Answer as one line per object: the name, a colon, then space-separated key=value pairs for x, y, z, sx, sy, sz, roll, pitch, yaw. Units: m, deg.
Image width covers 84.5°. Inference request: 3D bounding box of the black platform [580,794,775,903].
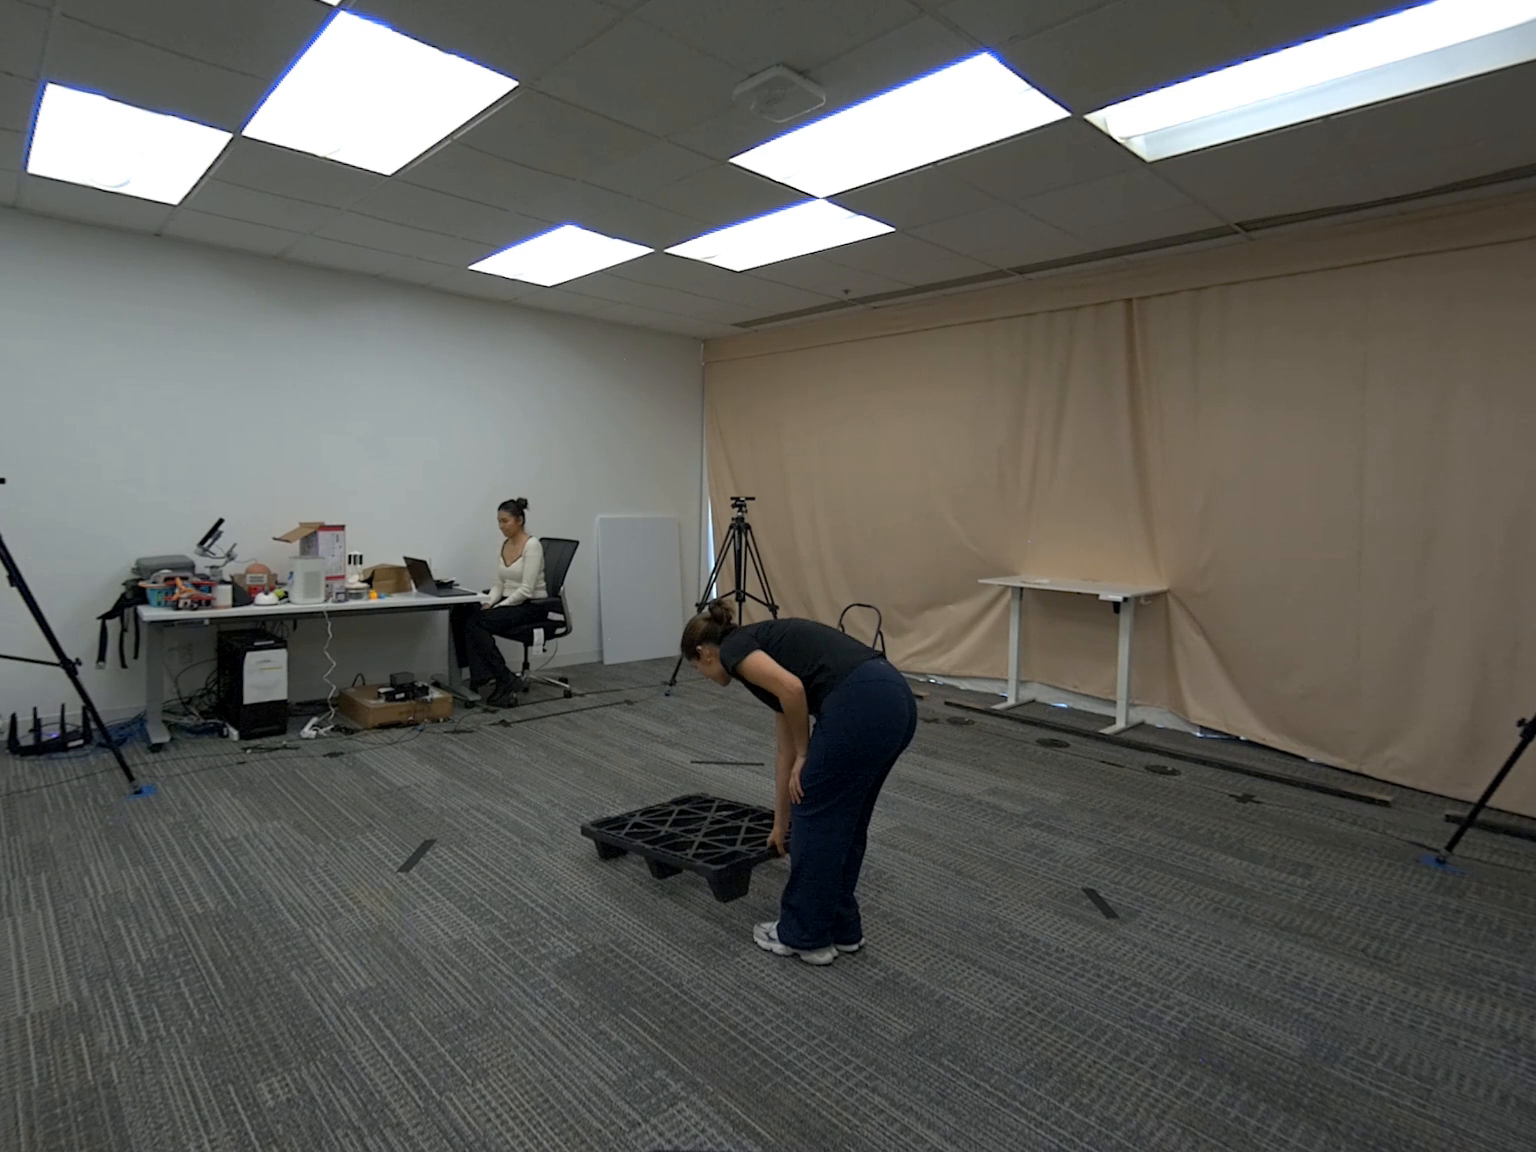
black platform: x=-0.234 y=0.995 z=3.109 sx=0.591 sy=0.143 sz=0.823 roll=-4 pitch=0 yaw=-44
